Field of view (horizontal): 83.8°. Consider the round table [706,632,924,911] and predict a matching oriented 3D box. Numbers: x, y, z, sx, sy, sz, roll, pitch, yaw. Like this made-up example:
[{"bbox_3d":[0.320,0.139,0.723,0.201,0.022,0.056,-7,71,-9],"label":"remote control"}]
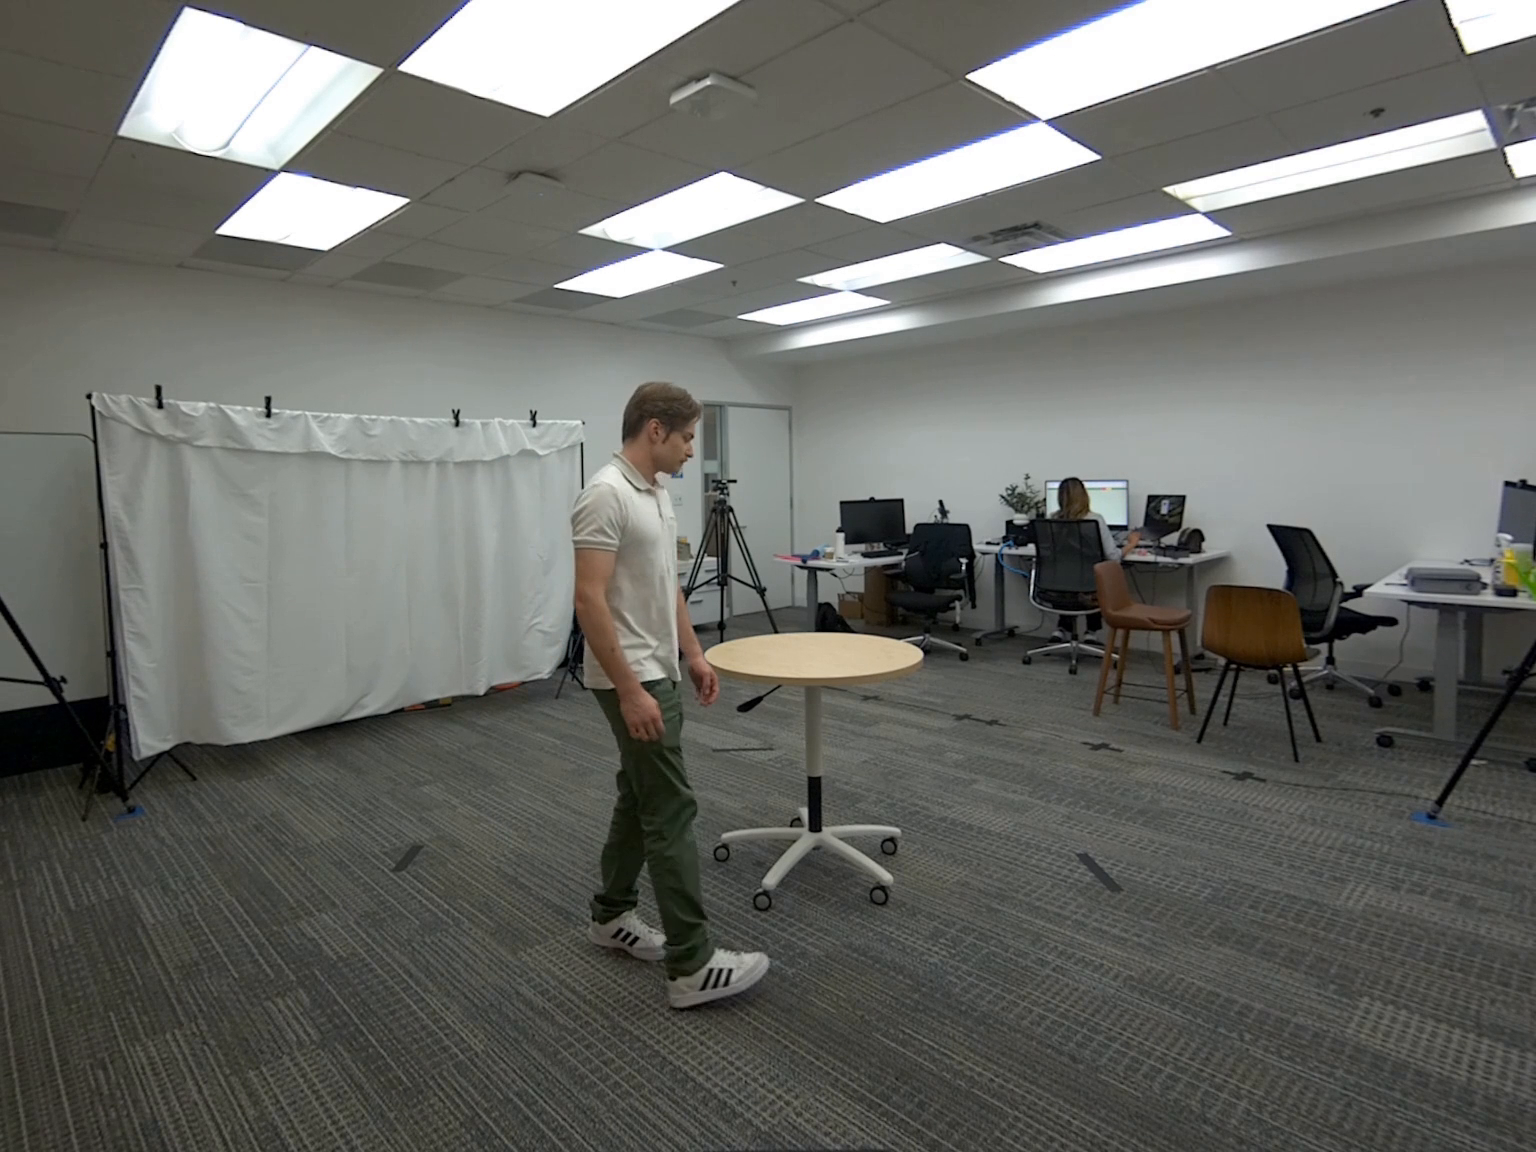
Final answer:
[{"bbox_3d":[0.176,0.658,3.041,0.784,0.783,0.789,-2,5,-2],"label":"round table"}]
